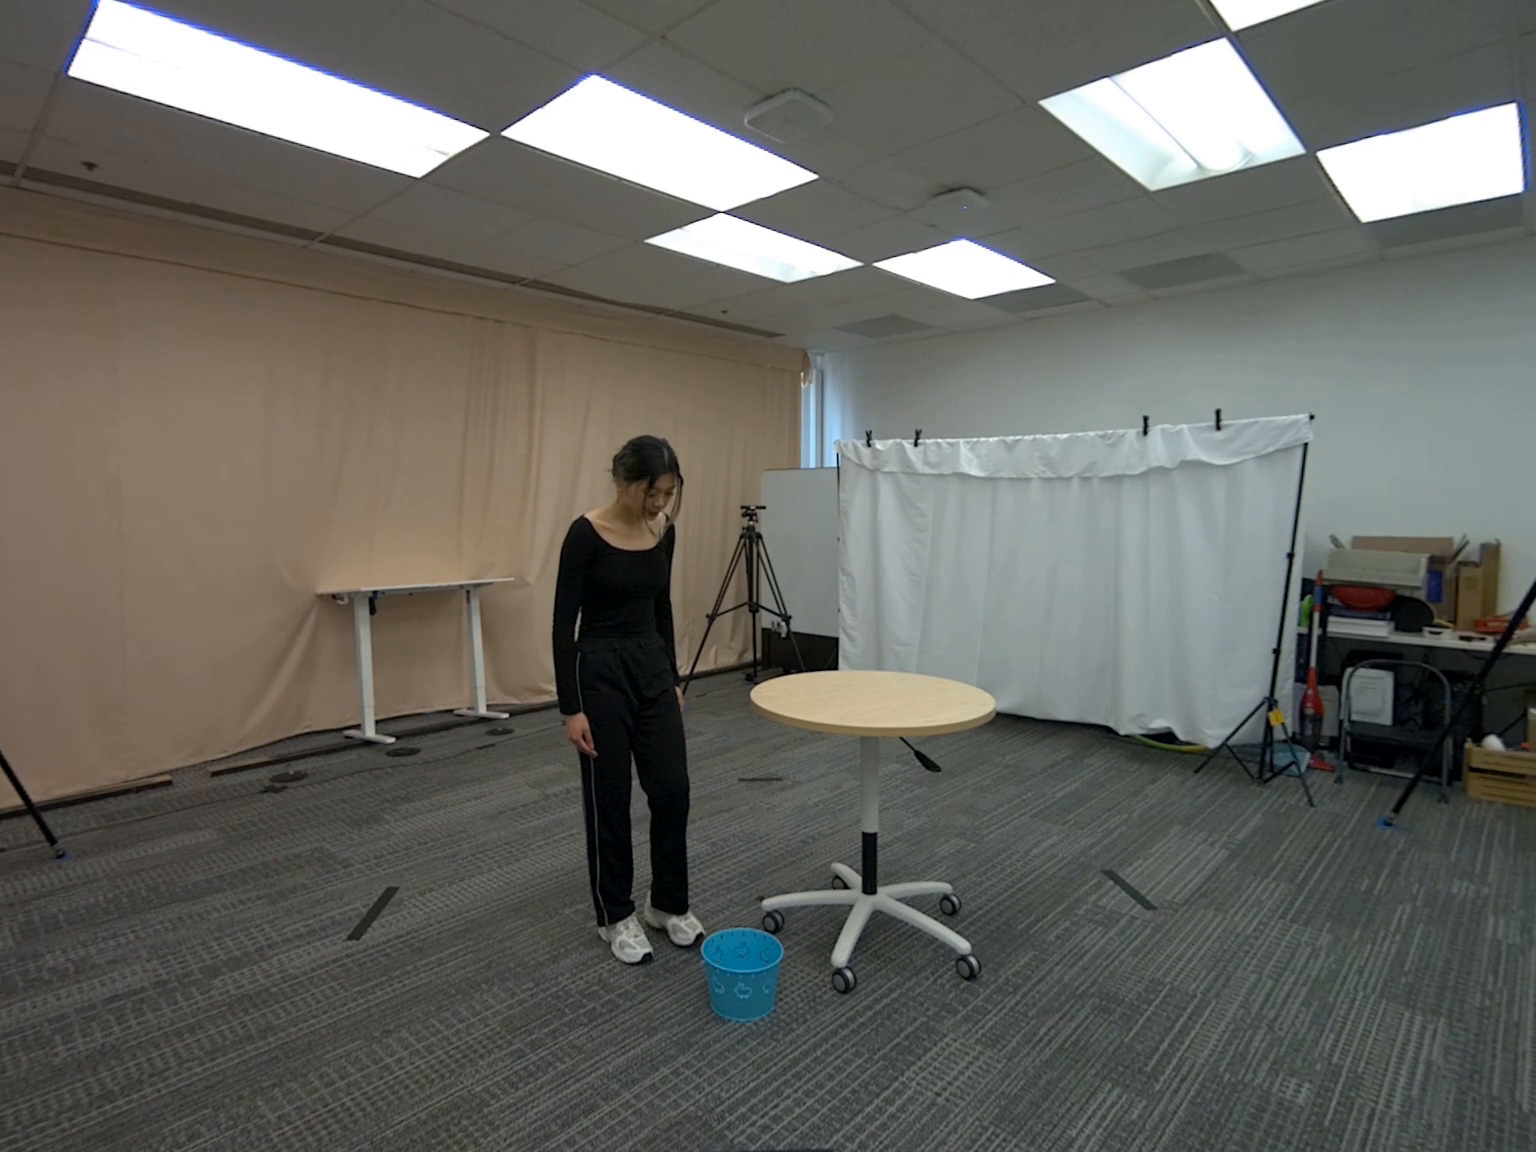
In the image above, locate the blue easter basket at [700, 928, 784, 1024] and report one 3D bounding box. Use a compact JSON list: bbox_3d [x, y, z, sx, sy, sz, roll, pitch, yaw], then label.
[{"bbox_3d":[-0.066,1.119,2.362,0.243,0.155,0.244,0,4,-2],"label":"blue easter basket"}]
